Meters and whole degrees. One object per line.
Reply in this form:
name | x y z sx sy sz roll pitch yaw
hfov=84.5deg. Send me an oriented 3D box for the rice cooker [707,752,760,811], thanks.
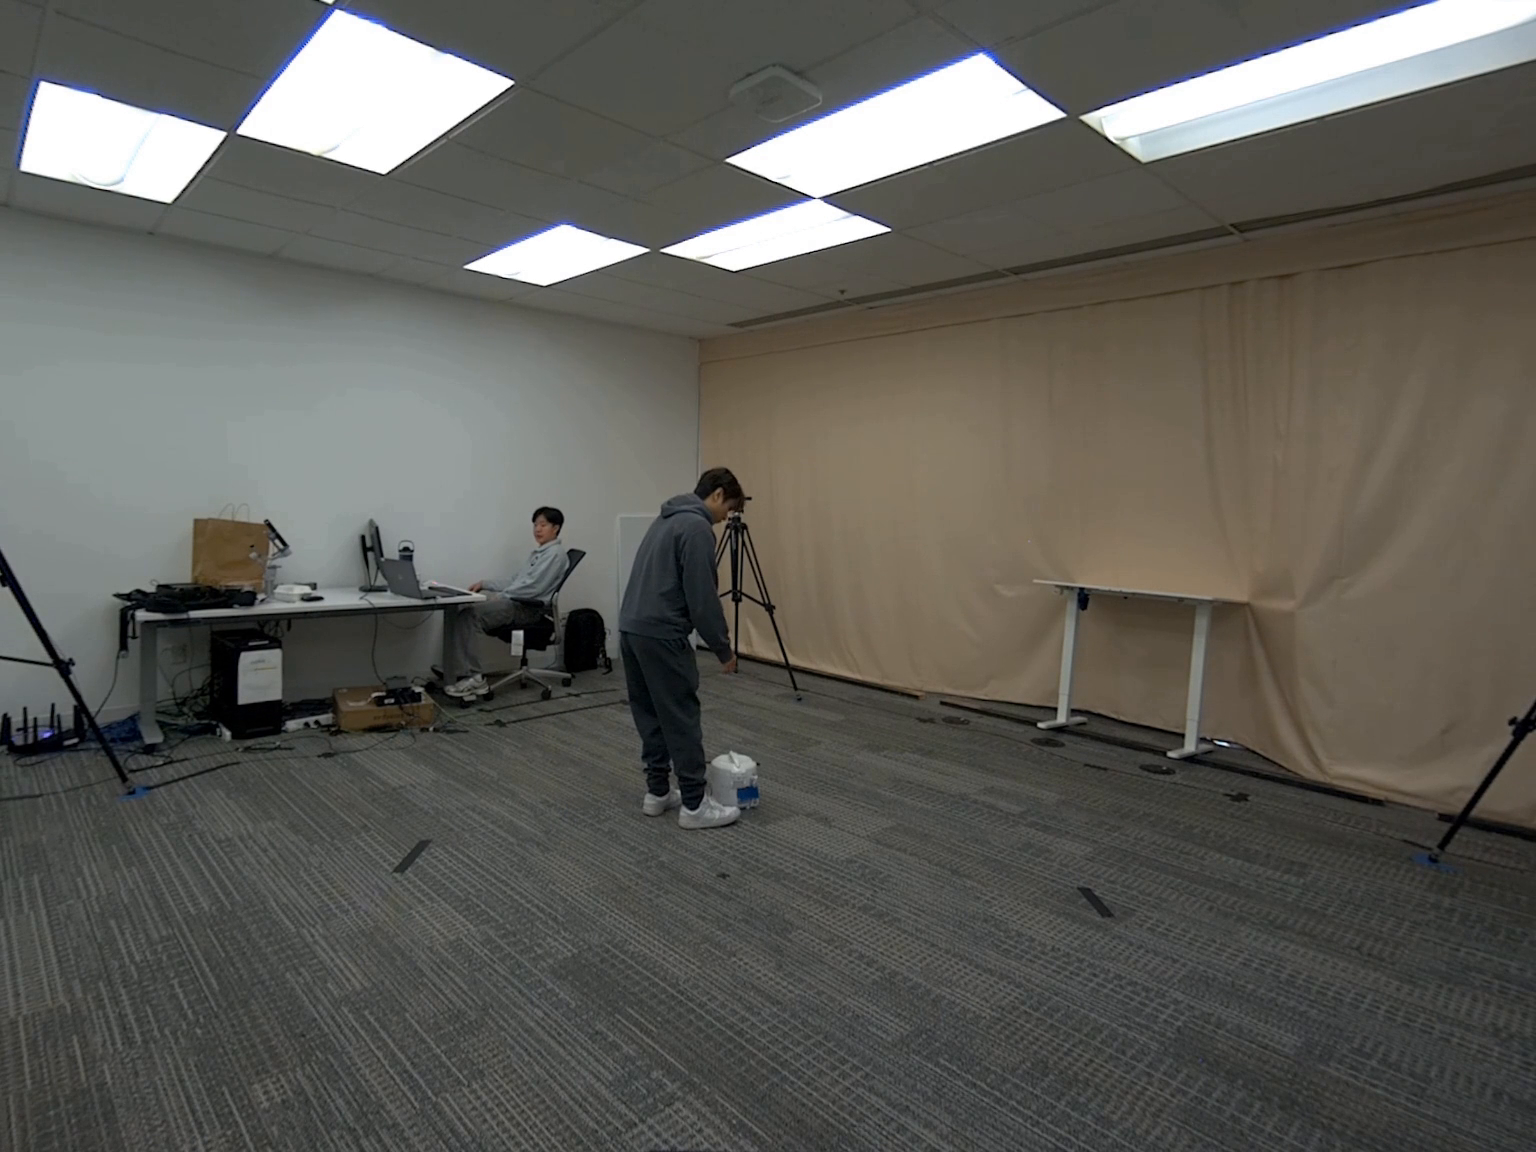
rice cooker | -0.173 0.924 3.845 0.215 0.232 0.223 2 4 -13
